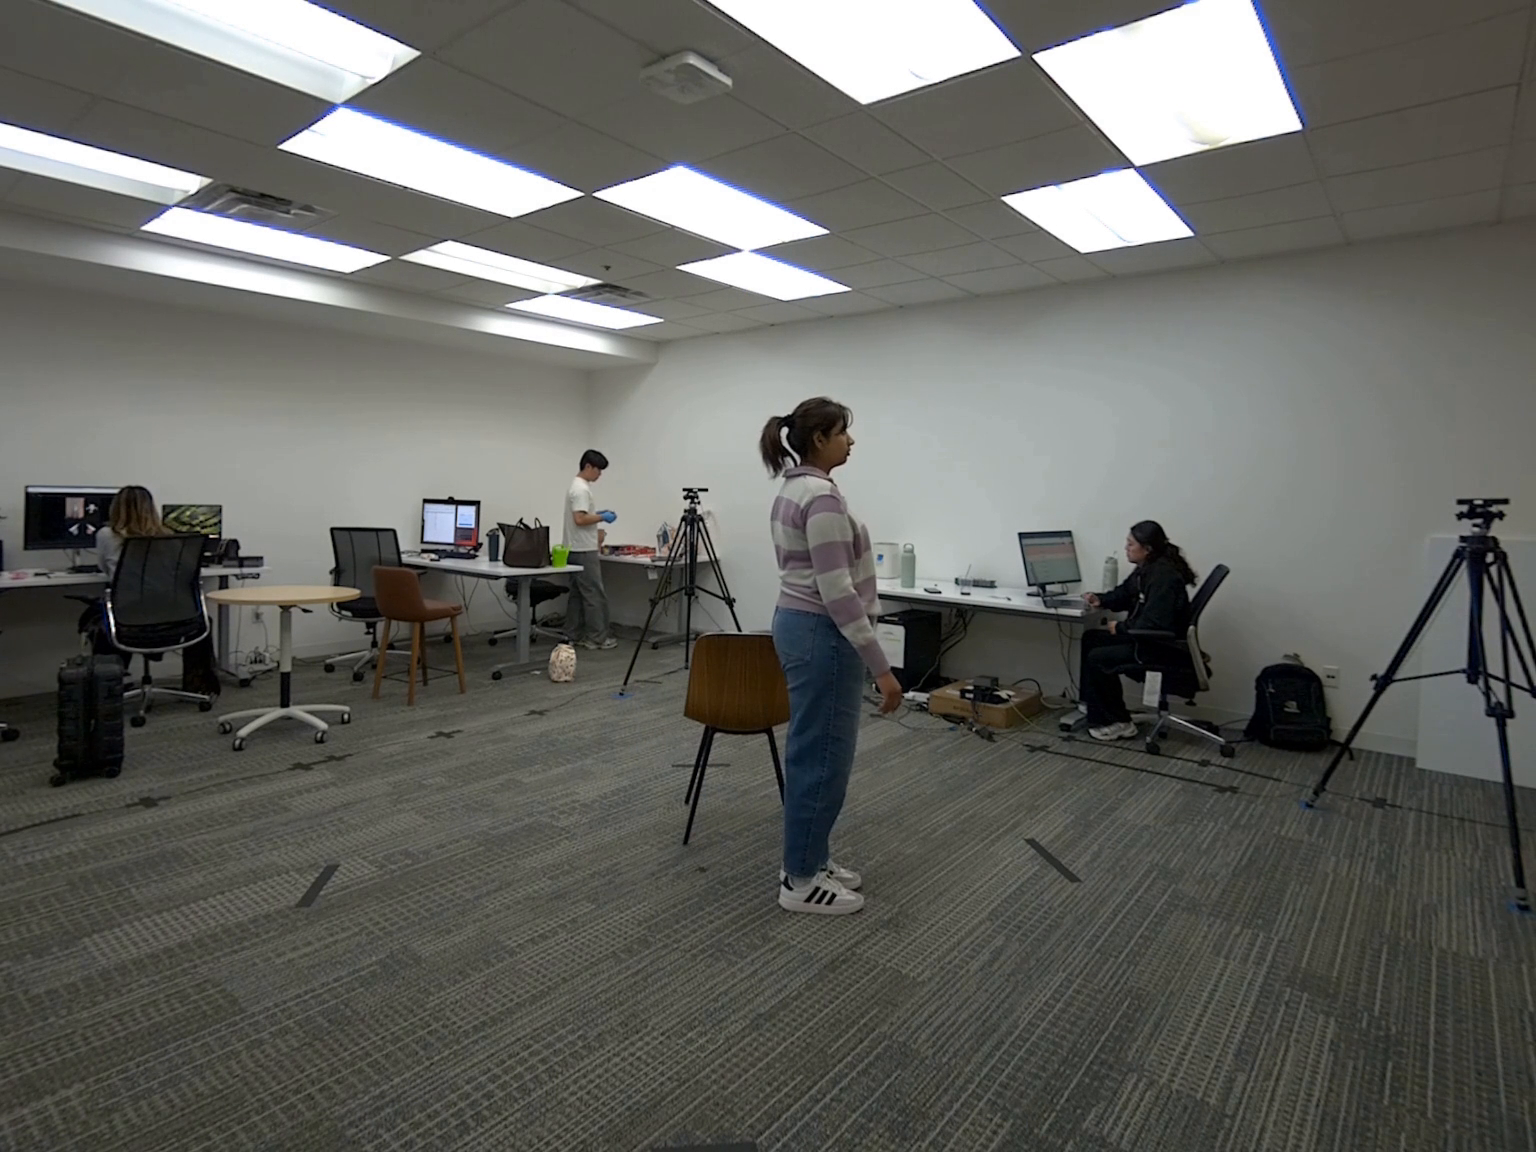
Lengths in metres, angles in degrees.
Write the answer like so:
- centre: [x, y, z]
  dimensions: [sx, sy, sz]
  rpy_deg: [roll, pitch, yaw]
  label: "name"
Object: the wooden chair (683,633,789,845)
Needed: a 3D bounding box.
- centre: [-0.134, 0.601, 3.523]
  dimensions: [0.477, 0.871, 0.528]
  rpy_deg: [0, 7, -3]
  label: "wooden chair"
